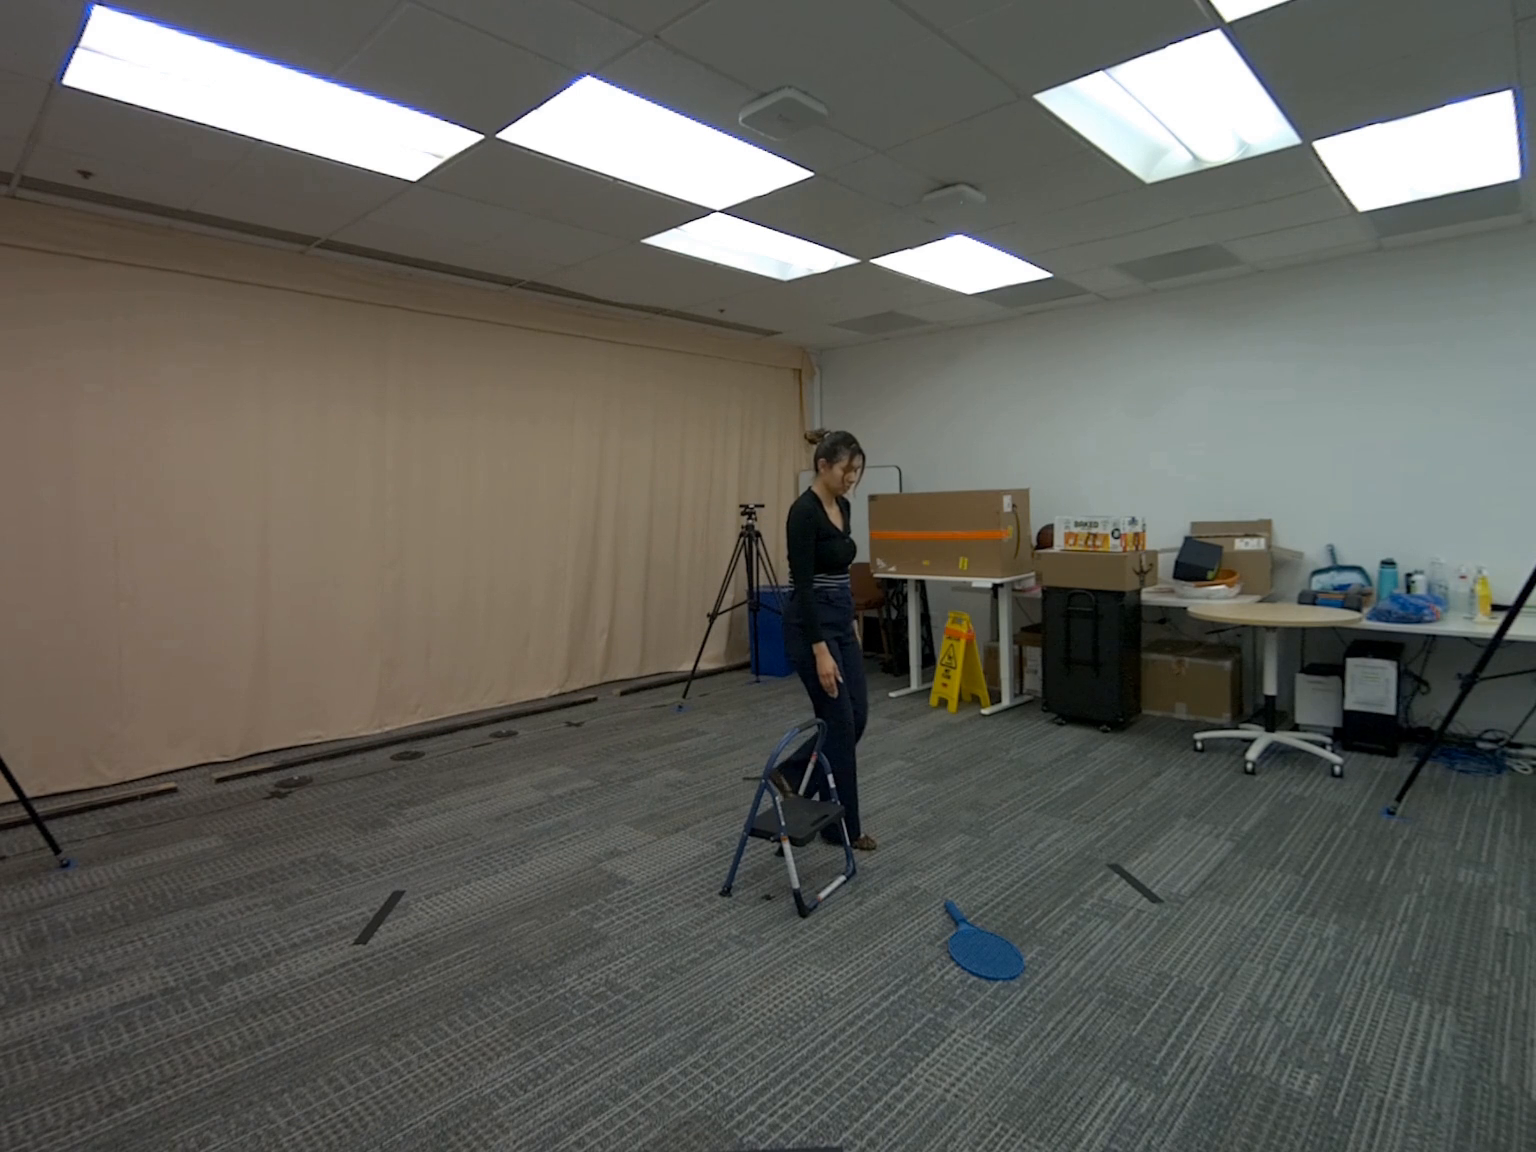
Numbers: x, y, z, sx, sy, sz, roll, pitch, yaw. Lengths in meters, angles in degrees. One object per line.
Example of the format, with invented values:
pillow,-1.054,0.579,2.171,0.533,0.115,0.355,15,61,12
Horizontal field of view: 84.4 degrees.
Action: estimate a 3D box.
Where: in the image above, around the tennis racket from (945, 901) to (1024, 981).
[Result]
tennis racket,0.651,1.139,2.653,0.211,0.031,0.439,-2,7,-11
